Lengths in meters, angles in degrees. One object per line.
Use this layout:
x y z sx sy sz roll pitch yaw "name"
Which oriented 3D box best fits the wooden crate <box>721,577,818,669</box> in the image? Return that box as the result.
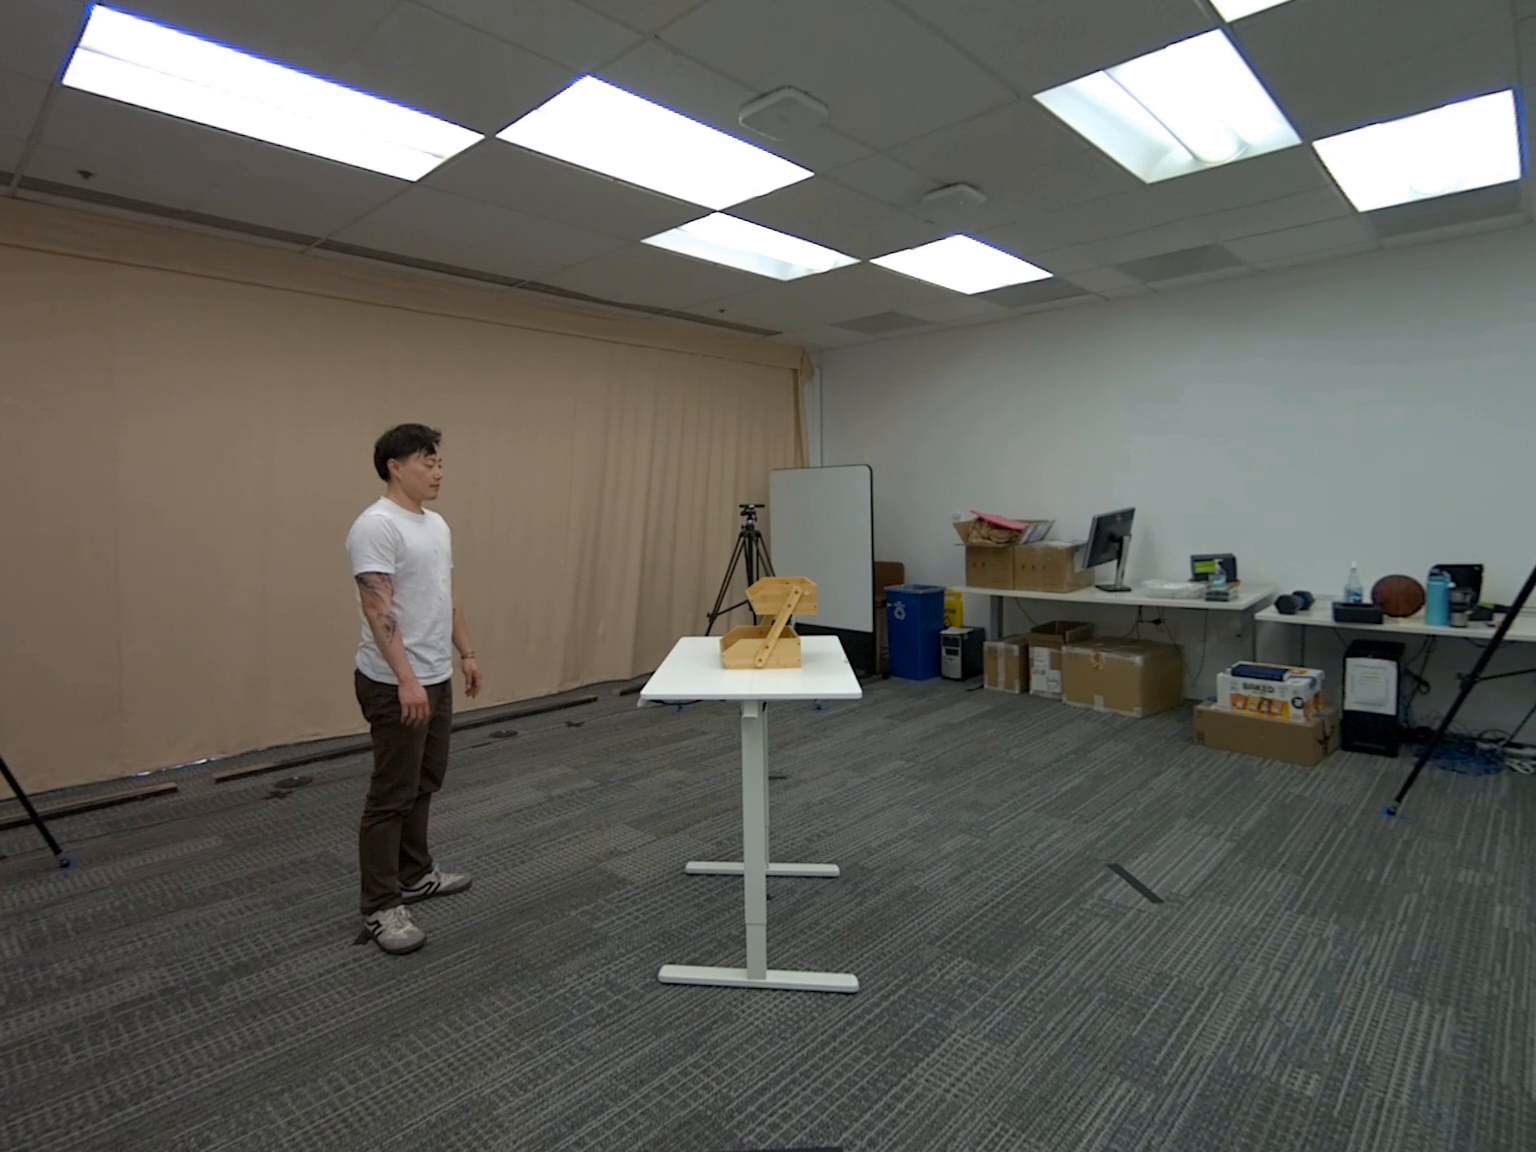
-0.017 0.152 2.753 0.301 0.273 0.326 -2 4 -3 "wooden crate"
